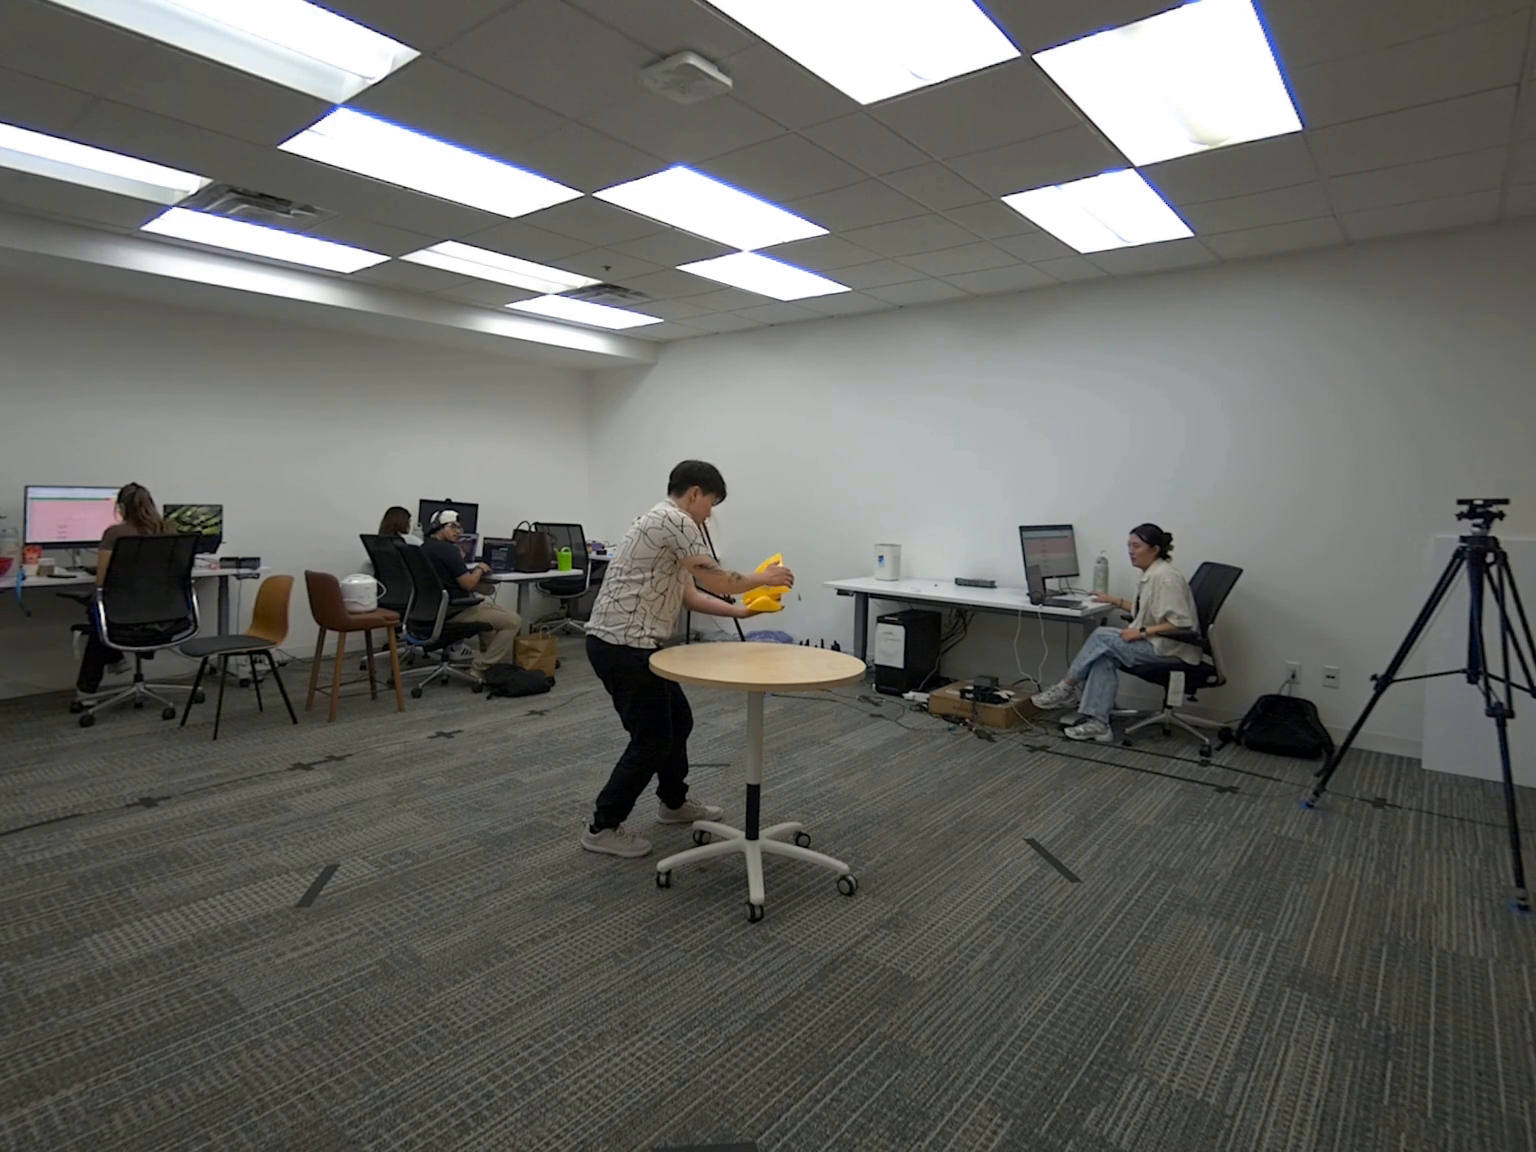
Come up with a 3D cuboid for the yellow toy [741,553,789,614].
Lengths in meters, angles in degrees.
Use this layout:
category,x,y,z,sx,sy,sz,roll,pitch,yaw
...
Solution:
category,x,y,z,sx,sy,sz,roll,pitch,yaw
yellow toy,-0.022,0.011,3.617,0.191,0.229,0.209,1,9,-12
